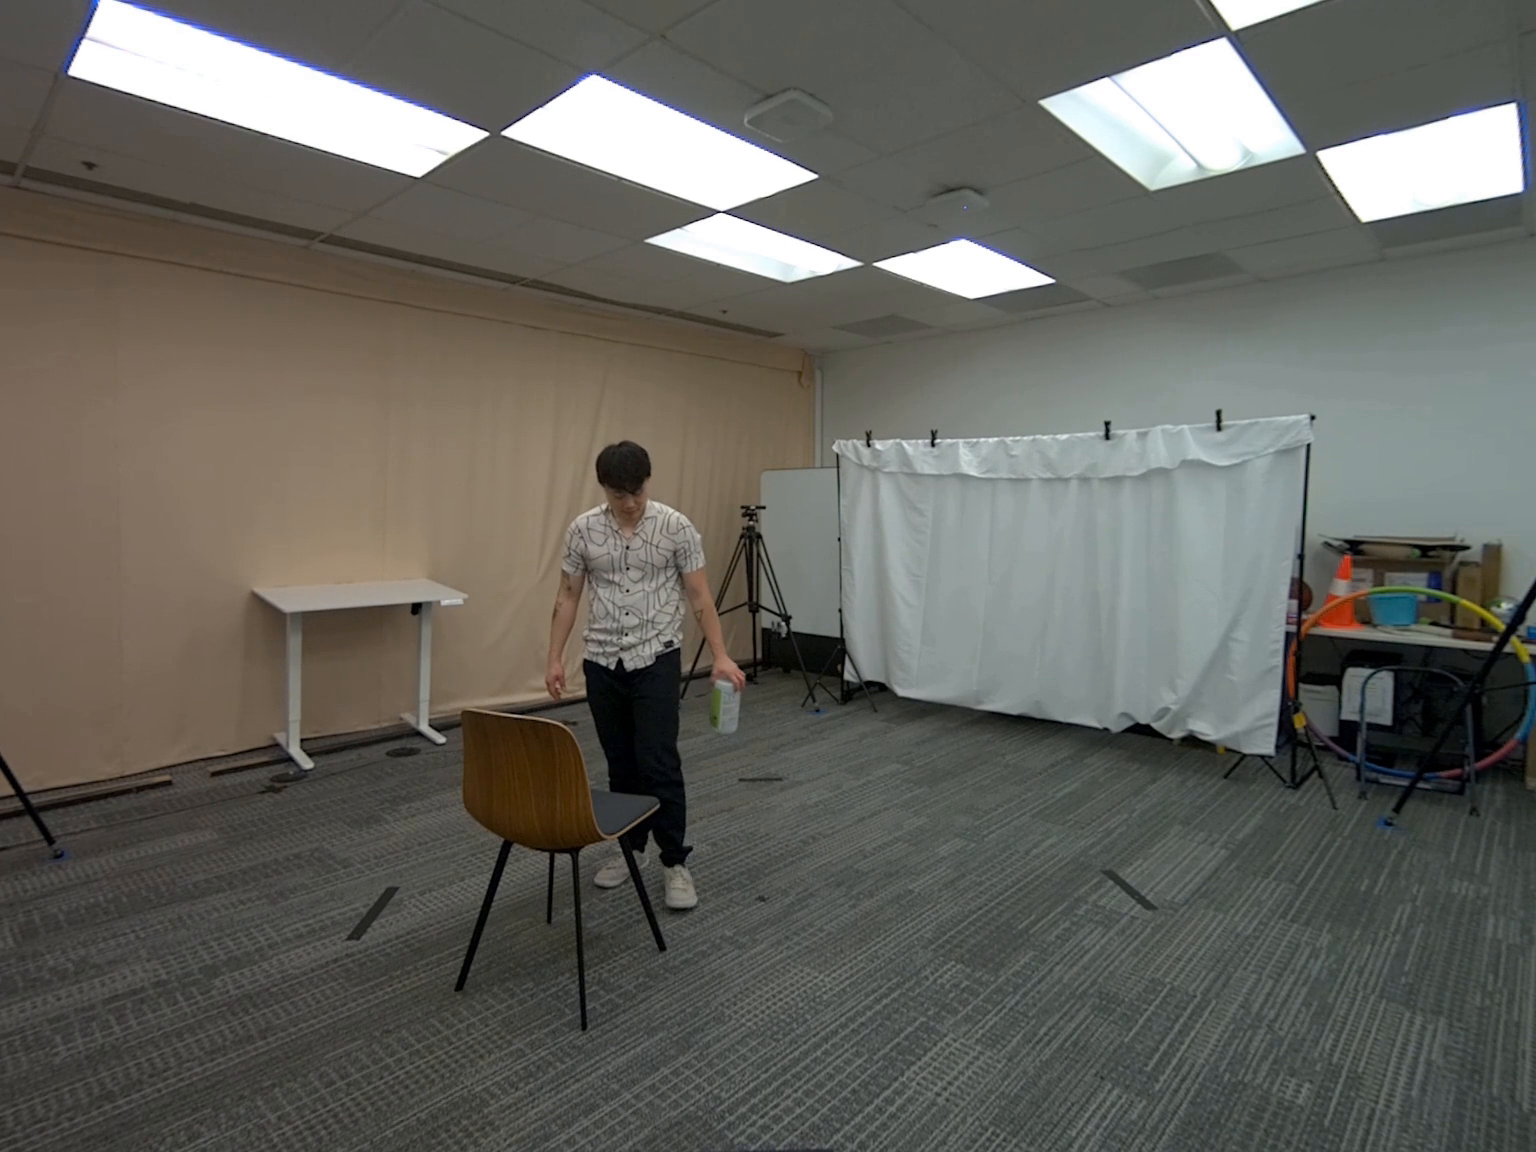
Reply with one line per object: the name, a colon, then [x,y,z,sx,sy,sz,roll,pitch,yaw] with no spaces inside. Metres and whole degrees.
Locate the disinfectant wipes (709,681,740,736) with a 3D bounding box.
disinfectant wipes: [-0.159,0.478,3.153,0.117,0.215,0.119,3,19,-3]
